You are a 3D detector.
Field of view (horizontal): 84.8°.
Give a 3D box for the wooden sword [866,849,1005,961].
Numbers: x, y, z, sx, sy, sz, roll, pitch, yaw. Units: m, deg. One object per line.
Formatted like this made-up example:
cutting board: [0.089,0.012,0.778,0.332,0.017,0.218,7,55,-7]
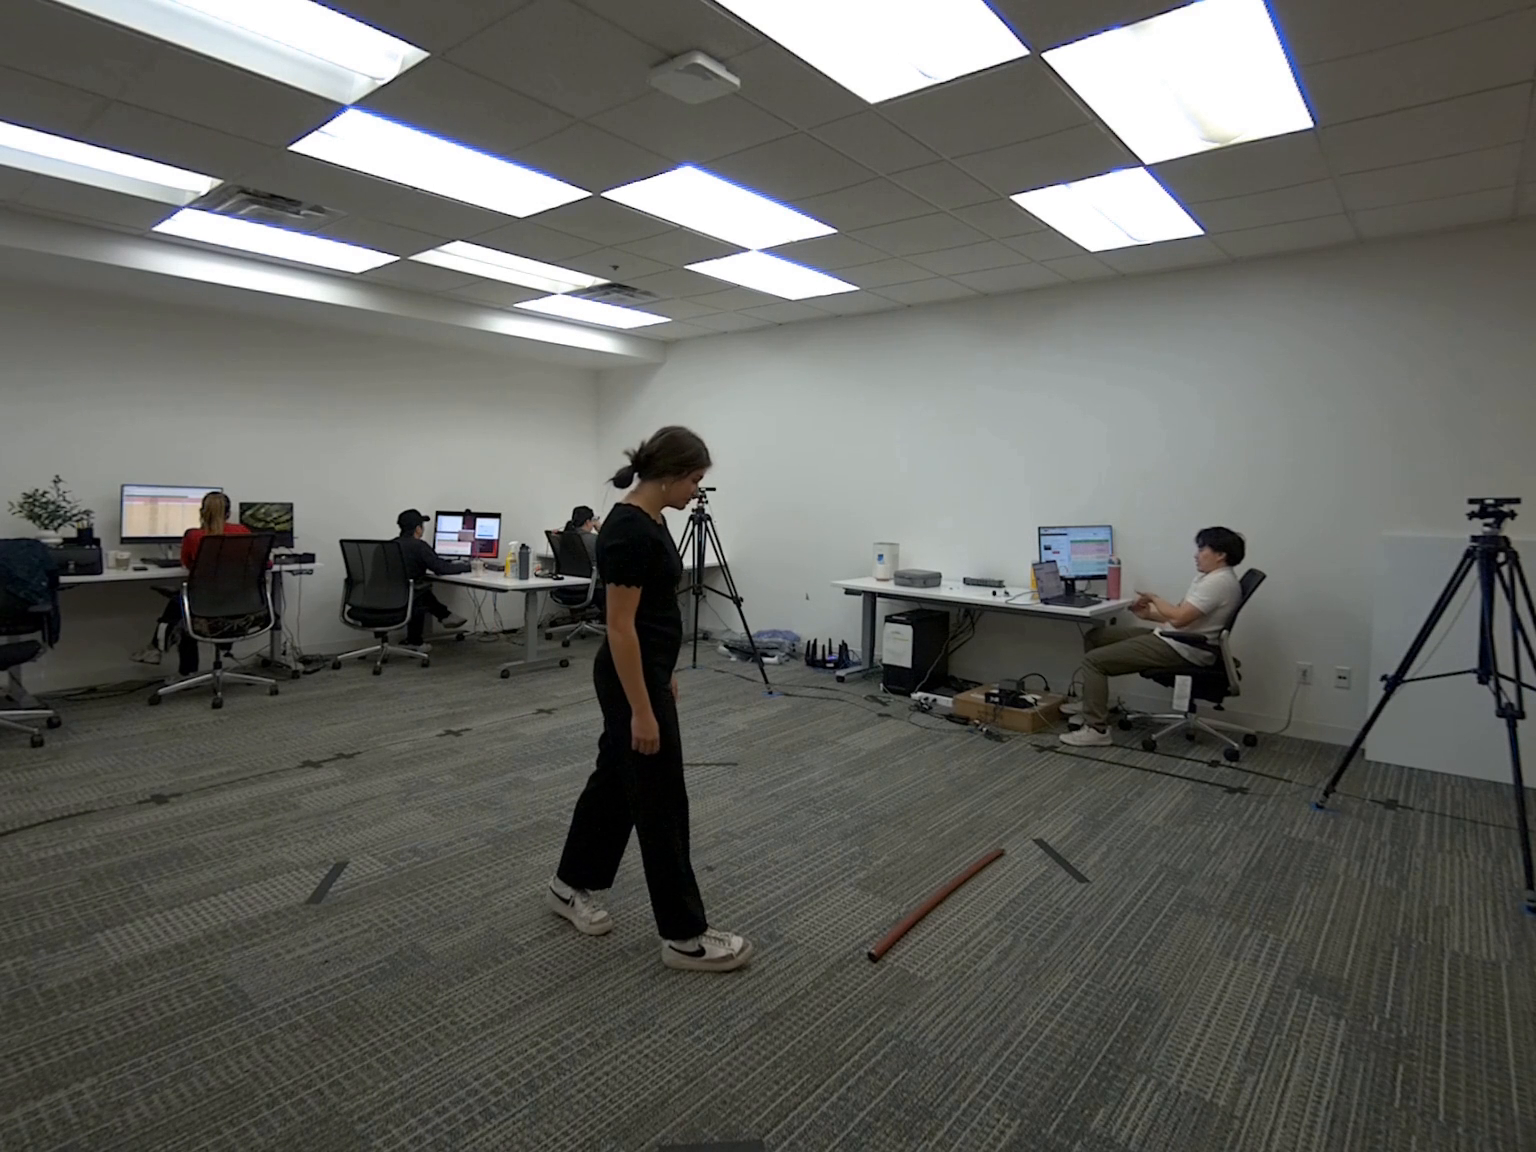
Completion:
wooden sword: [0.585,1.079,2.927,0.052,0.024,0.996,-9,-1,37]
